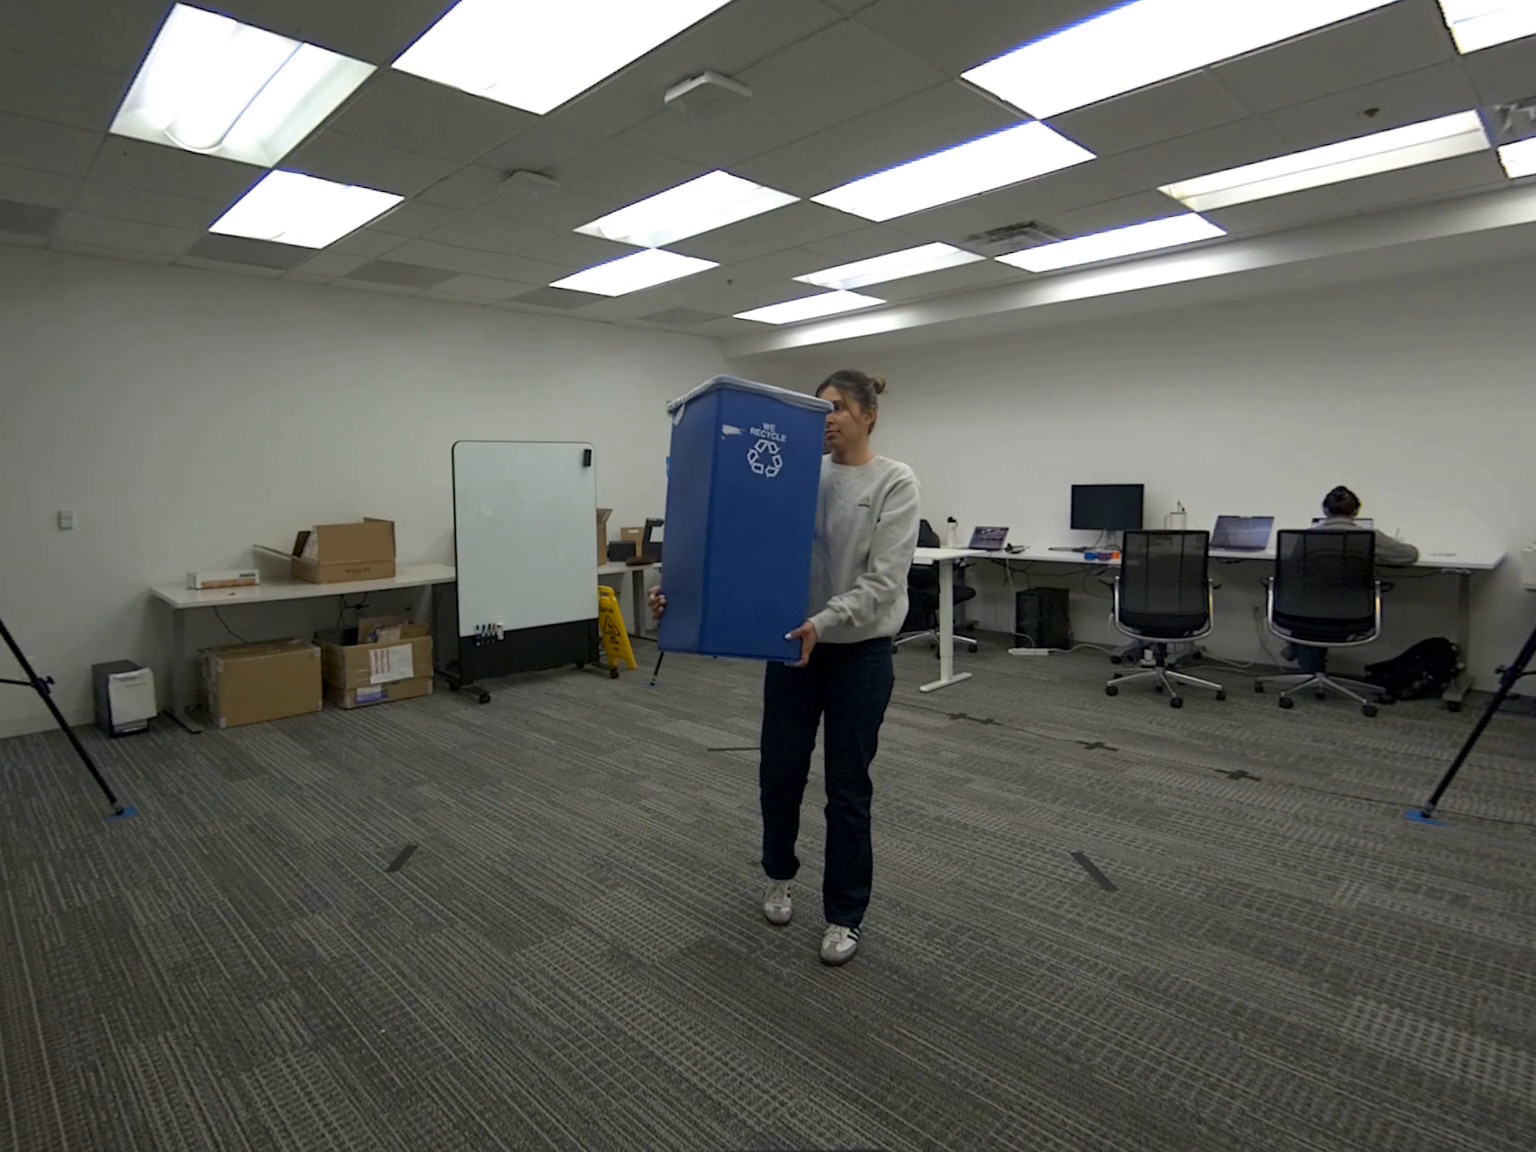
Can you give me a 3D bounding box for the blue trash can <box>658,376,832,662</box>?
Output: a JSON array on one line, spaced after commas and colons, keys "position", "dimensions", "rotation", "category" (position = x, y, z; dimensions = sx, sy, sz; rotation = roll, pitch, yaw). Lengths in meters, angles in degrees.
[{"position": [-0.075, -0.137, 2.374], "dimensions": [0.364, 0.718, 0.385], "rotation": [8, -8, -27], "category": "blue trash can"}]
